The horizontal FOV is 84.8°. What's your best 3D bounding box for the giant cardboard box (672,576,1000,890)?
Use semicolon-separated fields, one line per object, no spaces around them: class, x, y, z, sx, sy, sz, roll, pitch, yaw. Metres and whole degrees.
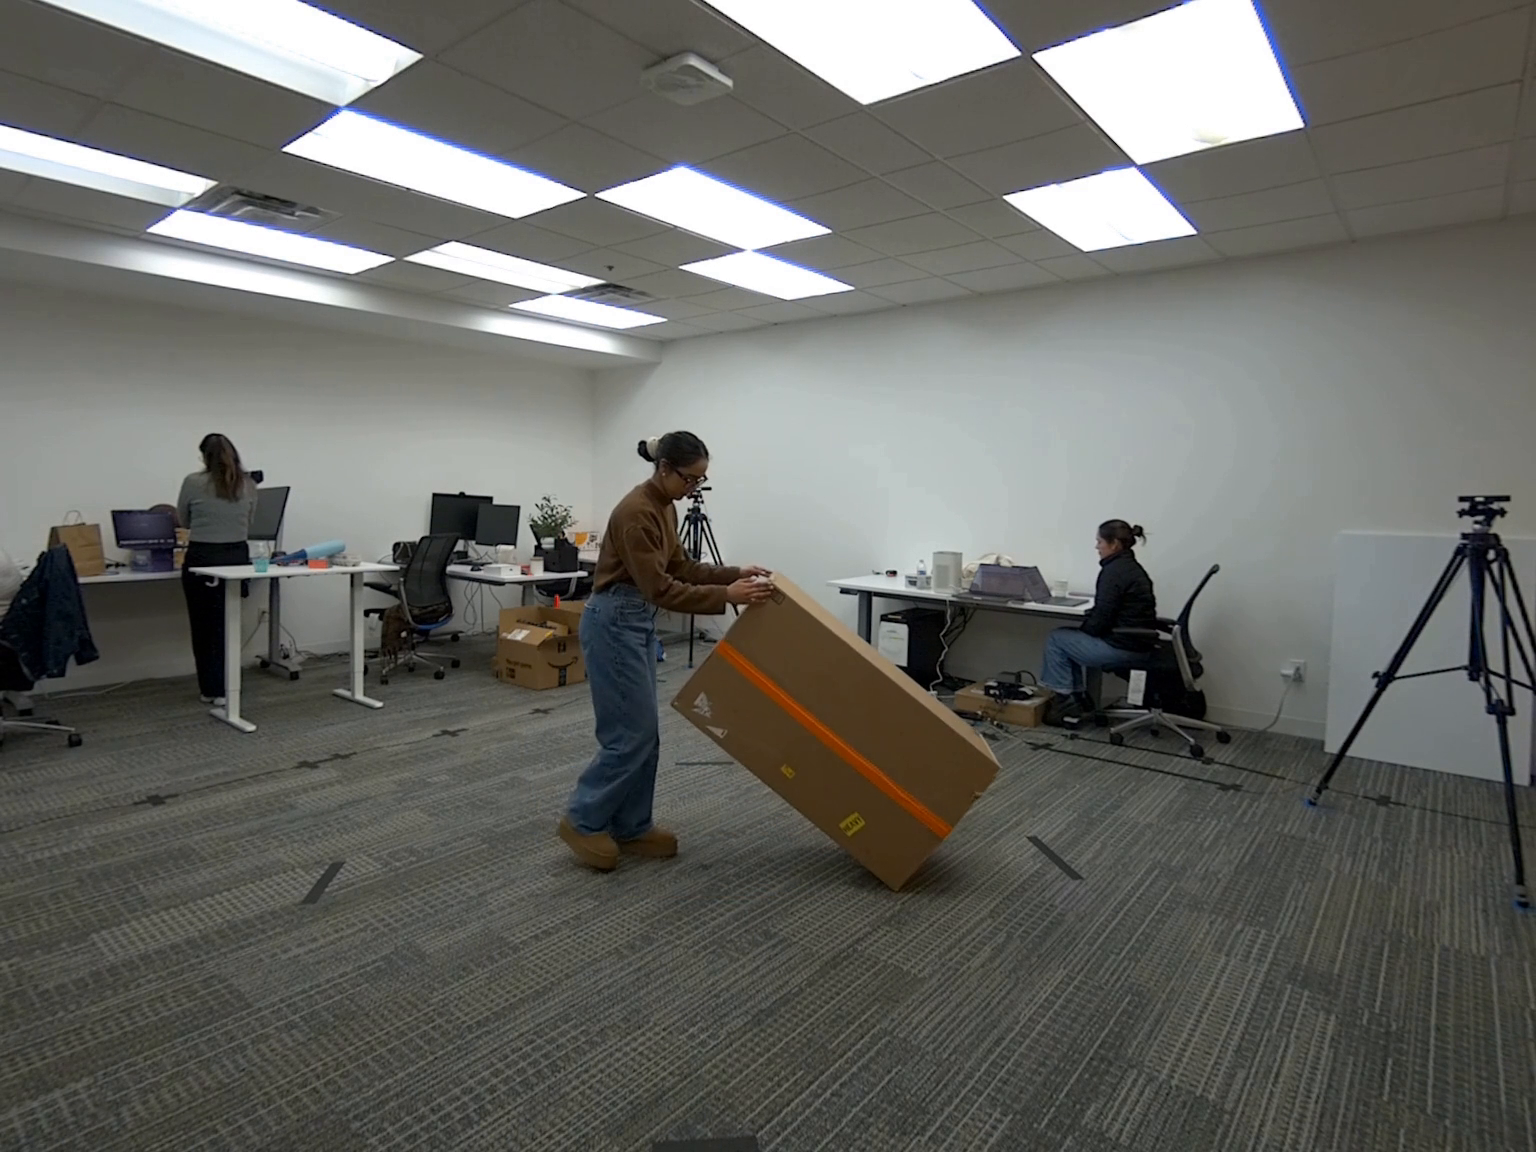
giant cardboard box;0.231;0.537;3.150;1.032;0.577;0.424;39;8;3
